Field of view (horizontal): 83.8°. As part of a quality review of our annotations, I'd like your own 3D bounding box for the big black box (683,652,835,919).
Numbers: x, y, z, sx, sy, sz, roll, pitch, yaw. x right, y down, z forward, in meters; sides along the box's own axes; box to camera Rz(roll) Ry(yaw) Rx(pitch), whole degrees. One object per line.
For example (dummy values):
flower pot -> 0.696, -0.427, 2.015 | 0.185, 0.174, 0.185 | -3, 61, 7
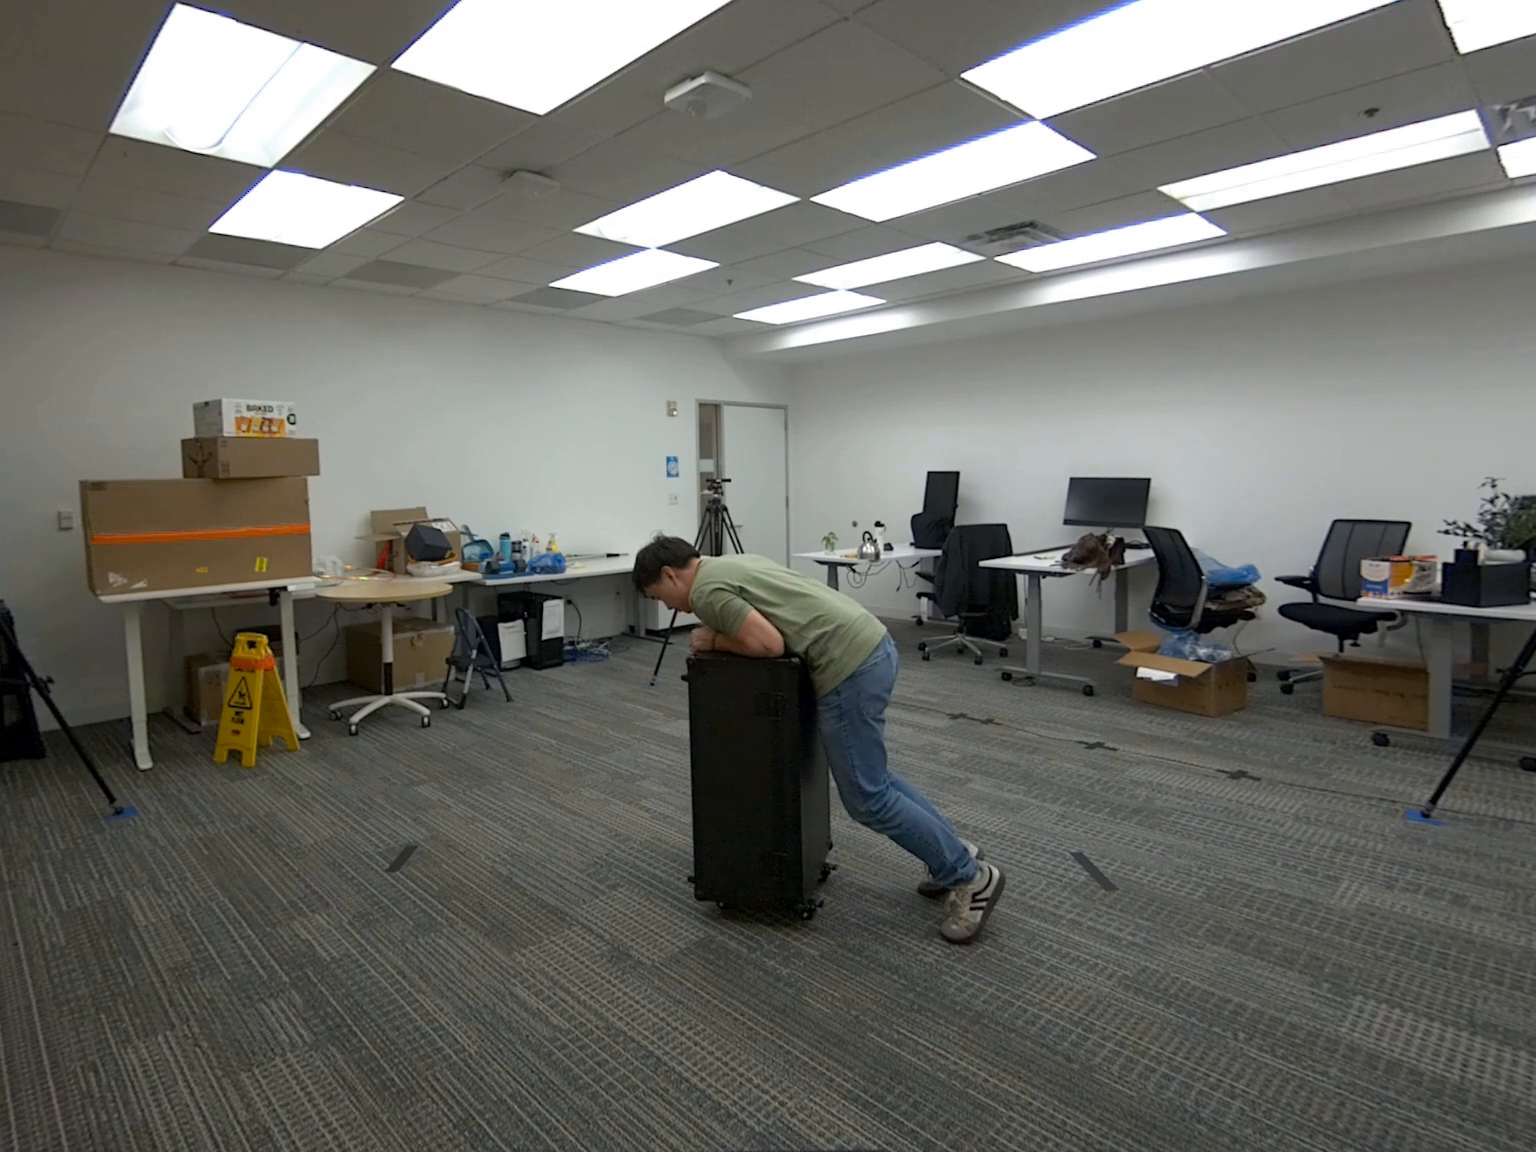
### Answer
big black box -> -0.021, 0.656, 2.858 | 0.402, 0.859, 0.515 | -1, 4, 16
